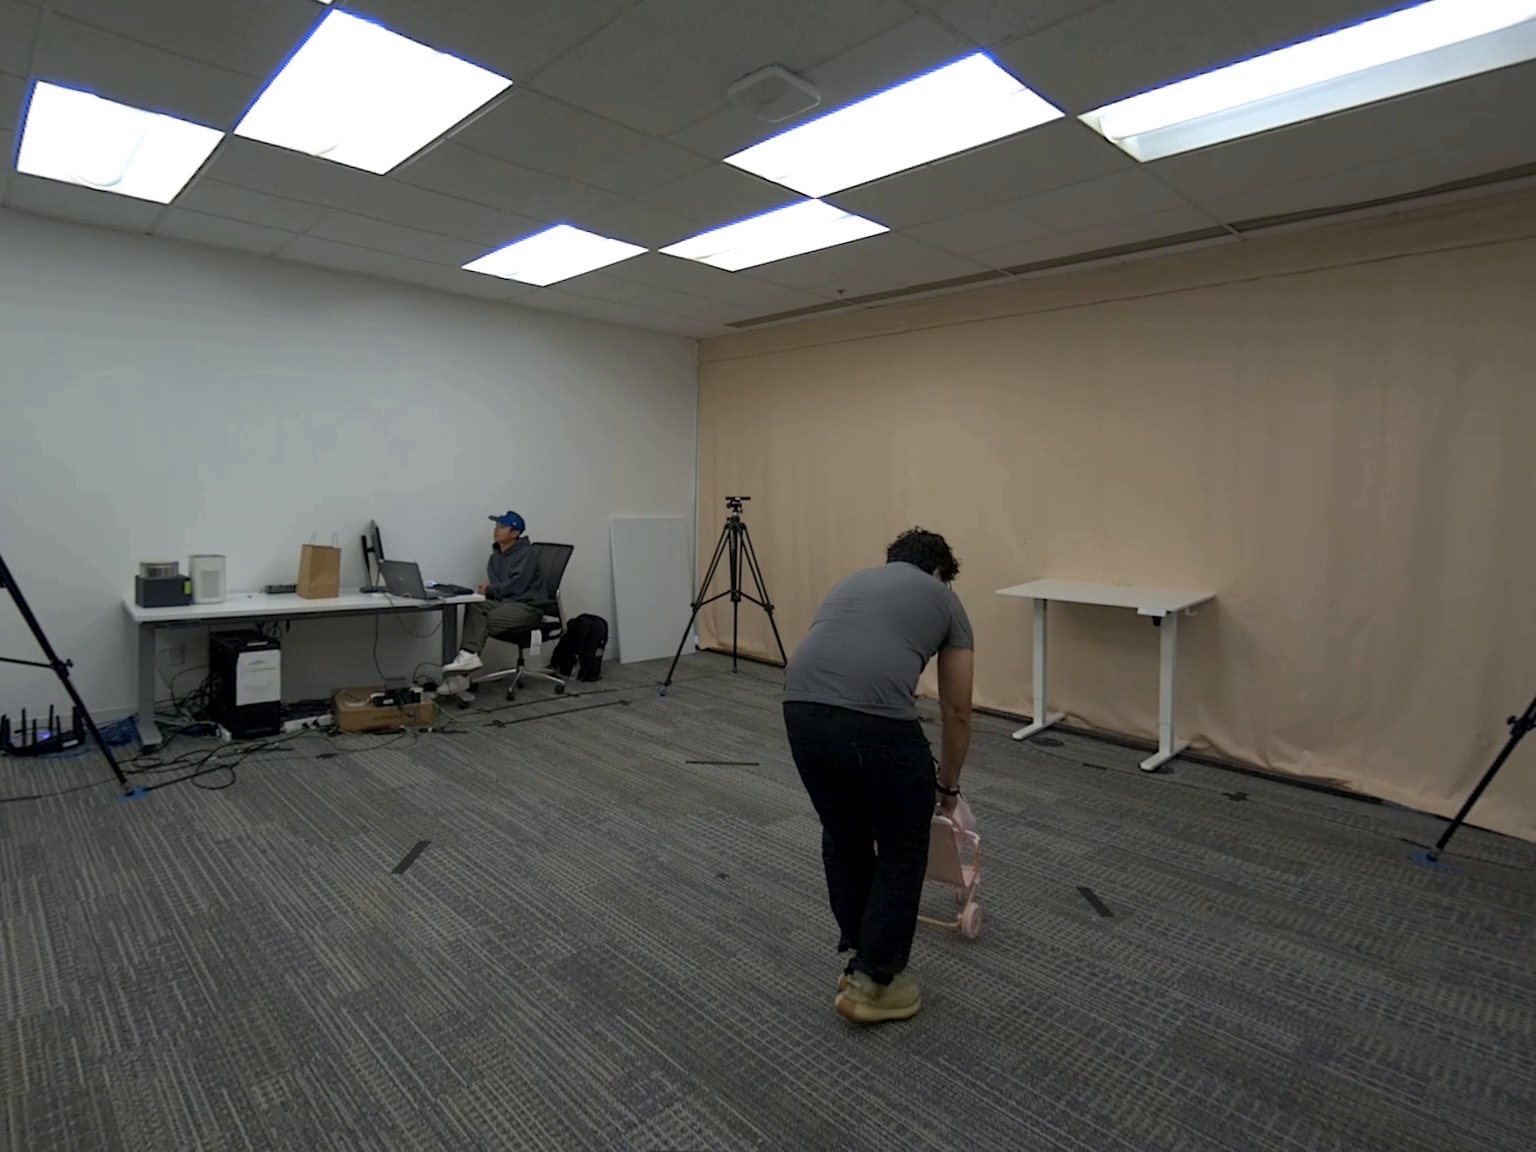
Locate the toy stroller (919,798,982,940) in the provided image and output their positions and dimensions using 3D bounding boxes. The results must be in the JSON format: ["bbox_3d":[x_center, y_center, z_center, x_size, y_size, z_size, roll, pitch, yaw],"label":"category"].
[{"bbox_3d":[0.576,0.920,2.801,0.288,0.530,0.337,0,15,37],"label":"toy stroller"}]
